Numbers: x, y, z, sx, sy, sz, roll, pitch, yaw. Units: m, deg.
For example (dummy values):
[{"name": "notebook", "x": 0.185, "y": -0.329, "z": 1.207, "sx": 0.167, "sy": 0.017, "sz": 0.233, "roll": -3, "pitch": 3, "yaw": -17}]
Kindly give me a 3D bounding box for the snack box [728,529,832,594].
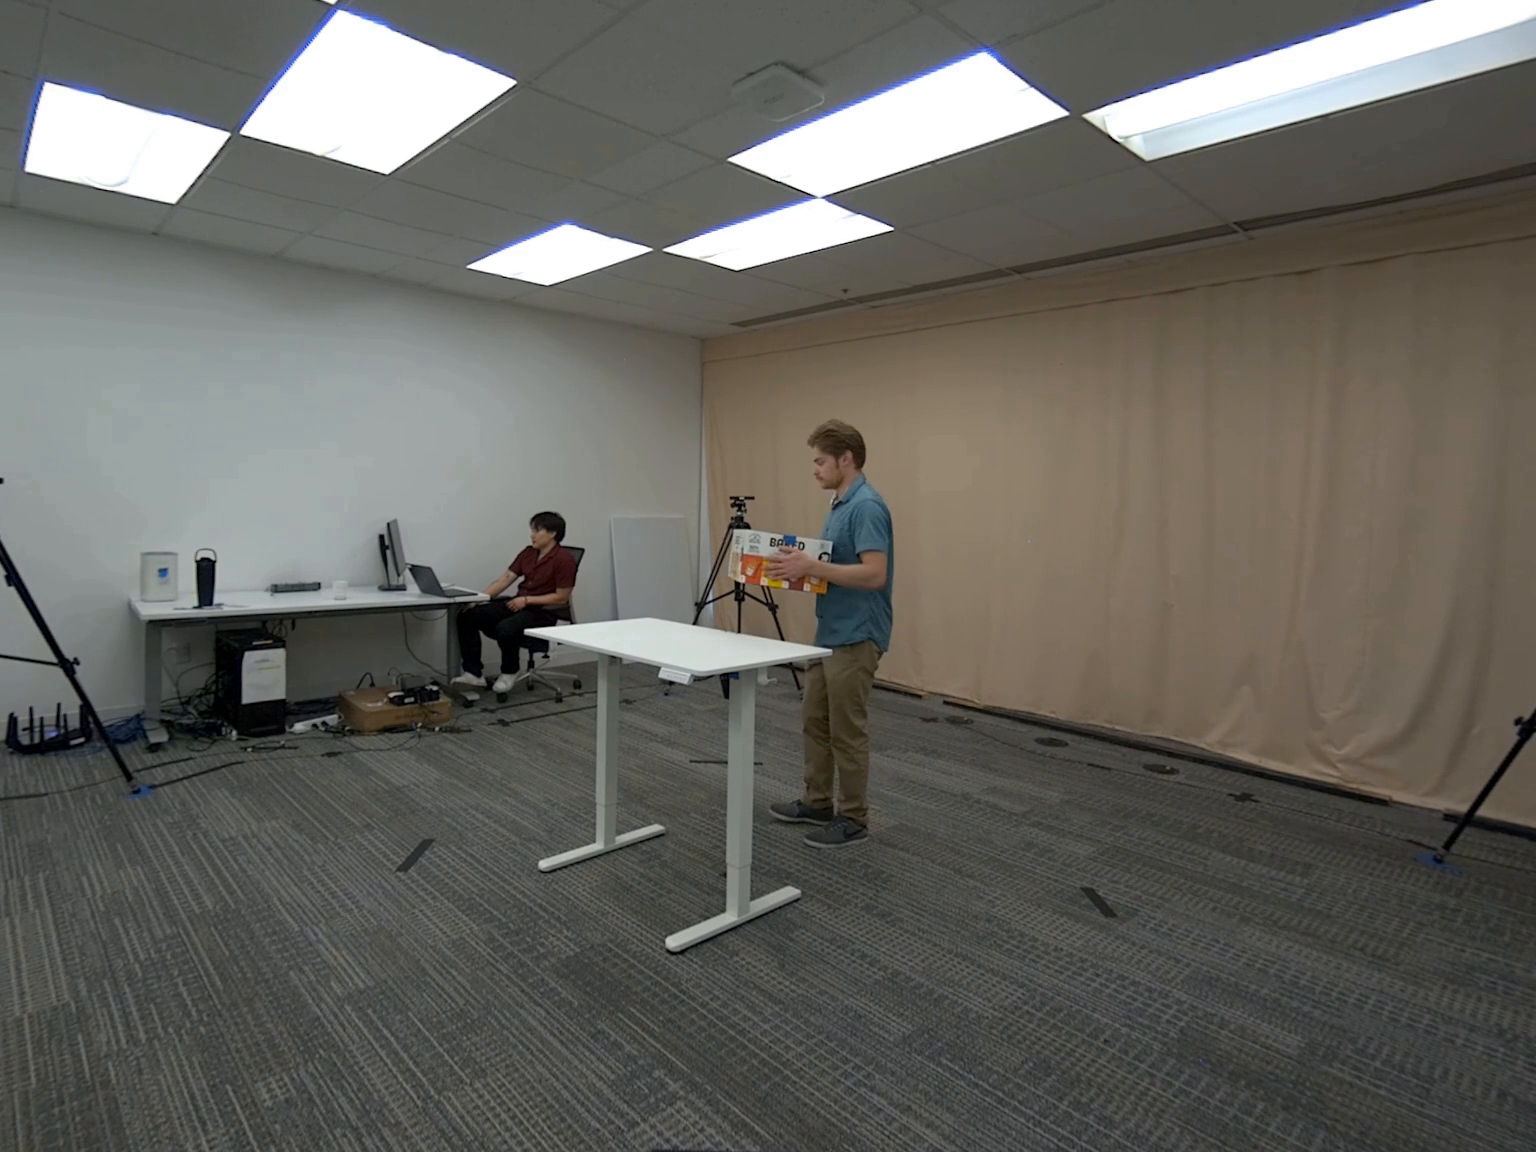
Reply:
[{"name": "snack box", "x": 0.033, "y": -0.065, "z": 3.384, "sx": 0.338, "sy": 0.205, "sz": 0.408, "roll": 8, "pitch": 1, "yaw": -8}]
